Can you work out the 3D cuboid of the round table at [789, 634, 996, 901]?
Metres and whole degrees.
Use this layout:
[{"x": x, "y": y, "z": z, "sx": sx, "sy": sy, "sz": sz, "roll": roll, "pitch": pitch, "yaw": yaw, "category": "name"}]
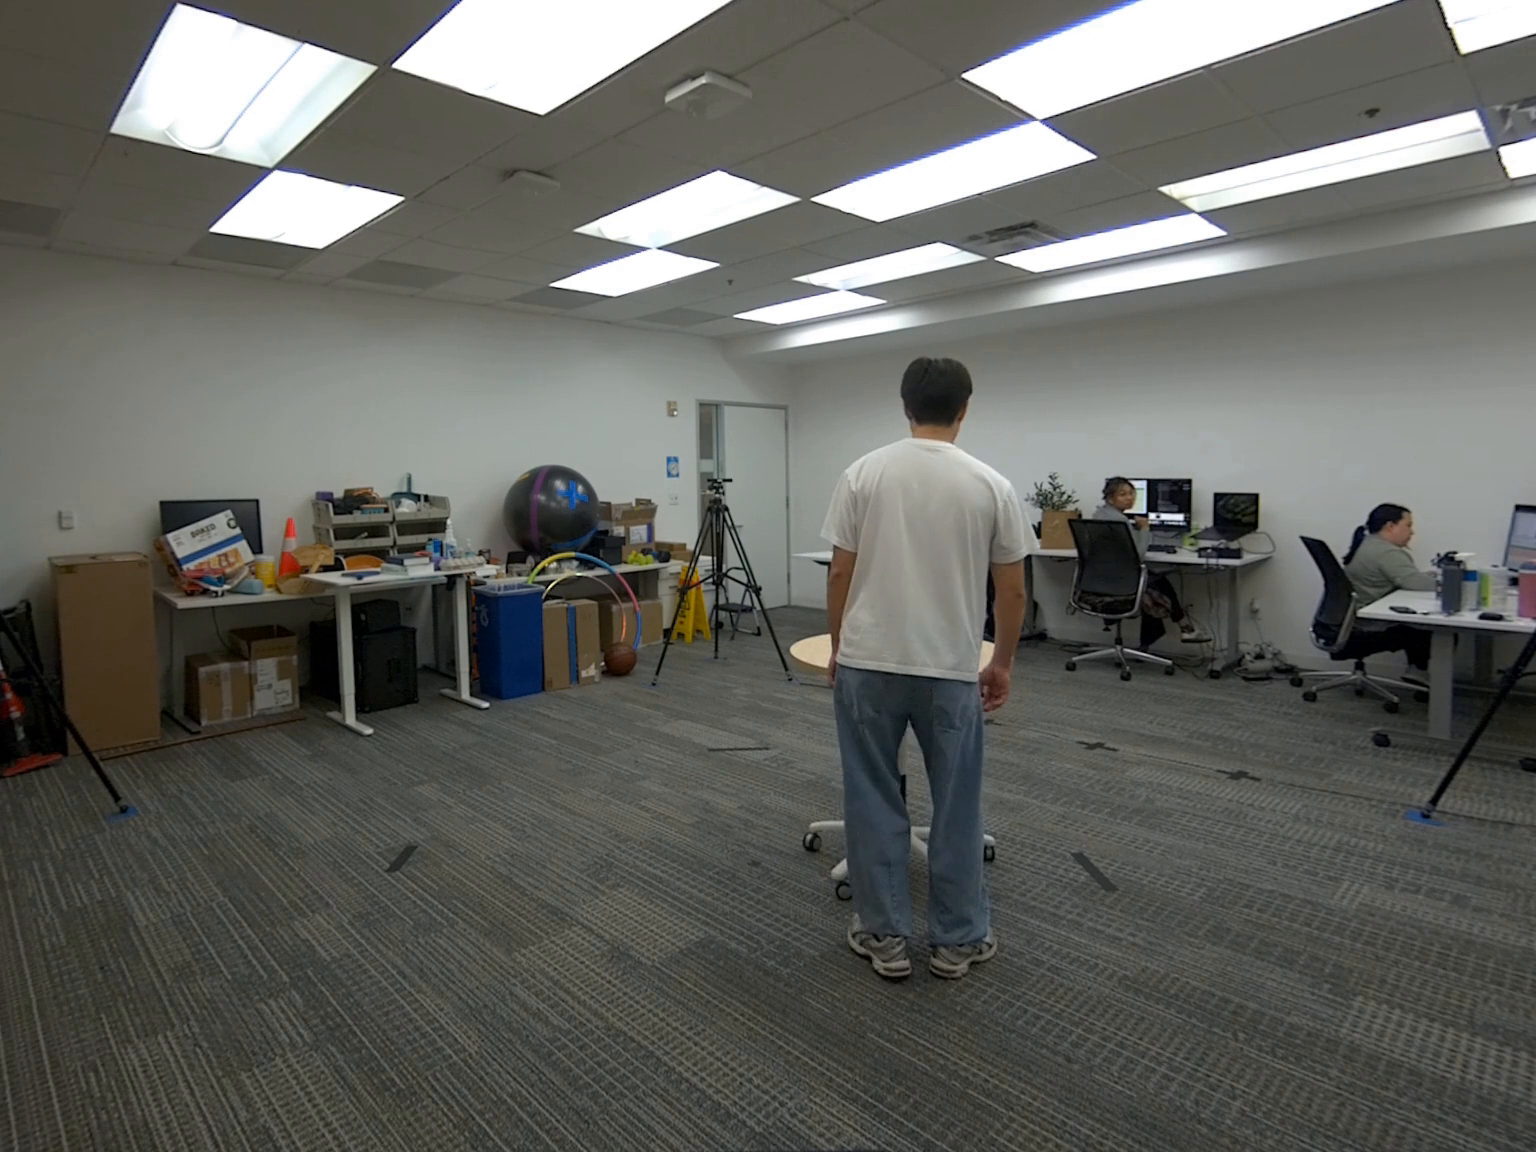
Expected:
[{"x": 0.477, "y": 0.655, "z": 3.027, "sx": 0.784, "sy": 0.783, "sz": 0.789, "roll": -1, "pitch": 5, "yaw": -2, "category": "round table"}]
